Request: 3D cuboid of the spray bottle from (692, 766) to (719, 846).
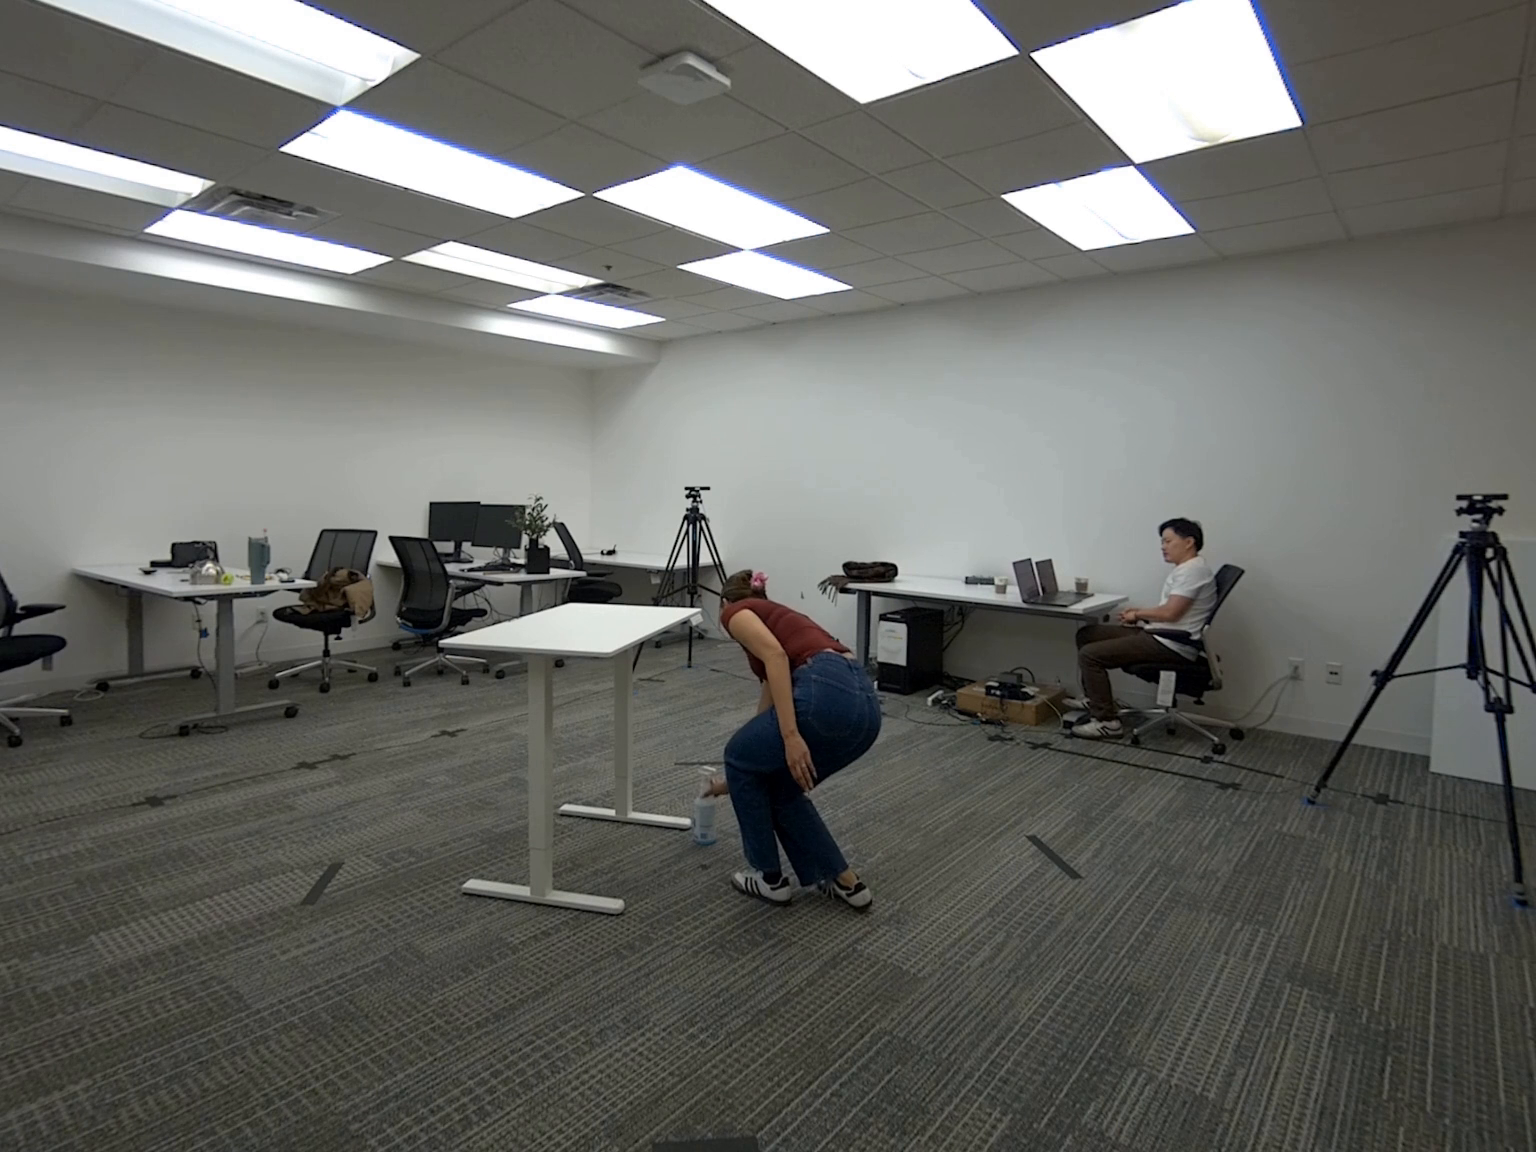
[{"bbox_3d":[-0.257,0.893,3.343,0.085,0.296,0.092,-1,4,-22],"label":"spray bottle"}]
